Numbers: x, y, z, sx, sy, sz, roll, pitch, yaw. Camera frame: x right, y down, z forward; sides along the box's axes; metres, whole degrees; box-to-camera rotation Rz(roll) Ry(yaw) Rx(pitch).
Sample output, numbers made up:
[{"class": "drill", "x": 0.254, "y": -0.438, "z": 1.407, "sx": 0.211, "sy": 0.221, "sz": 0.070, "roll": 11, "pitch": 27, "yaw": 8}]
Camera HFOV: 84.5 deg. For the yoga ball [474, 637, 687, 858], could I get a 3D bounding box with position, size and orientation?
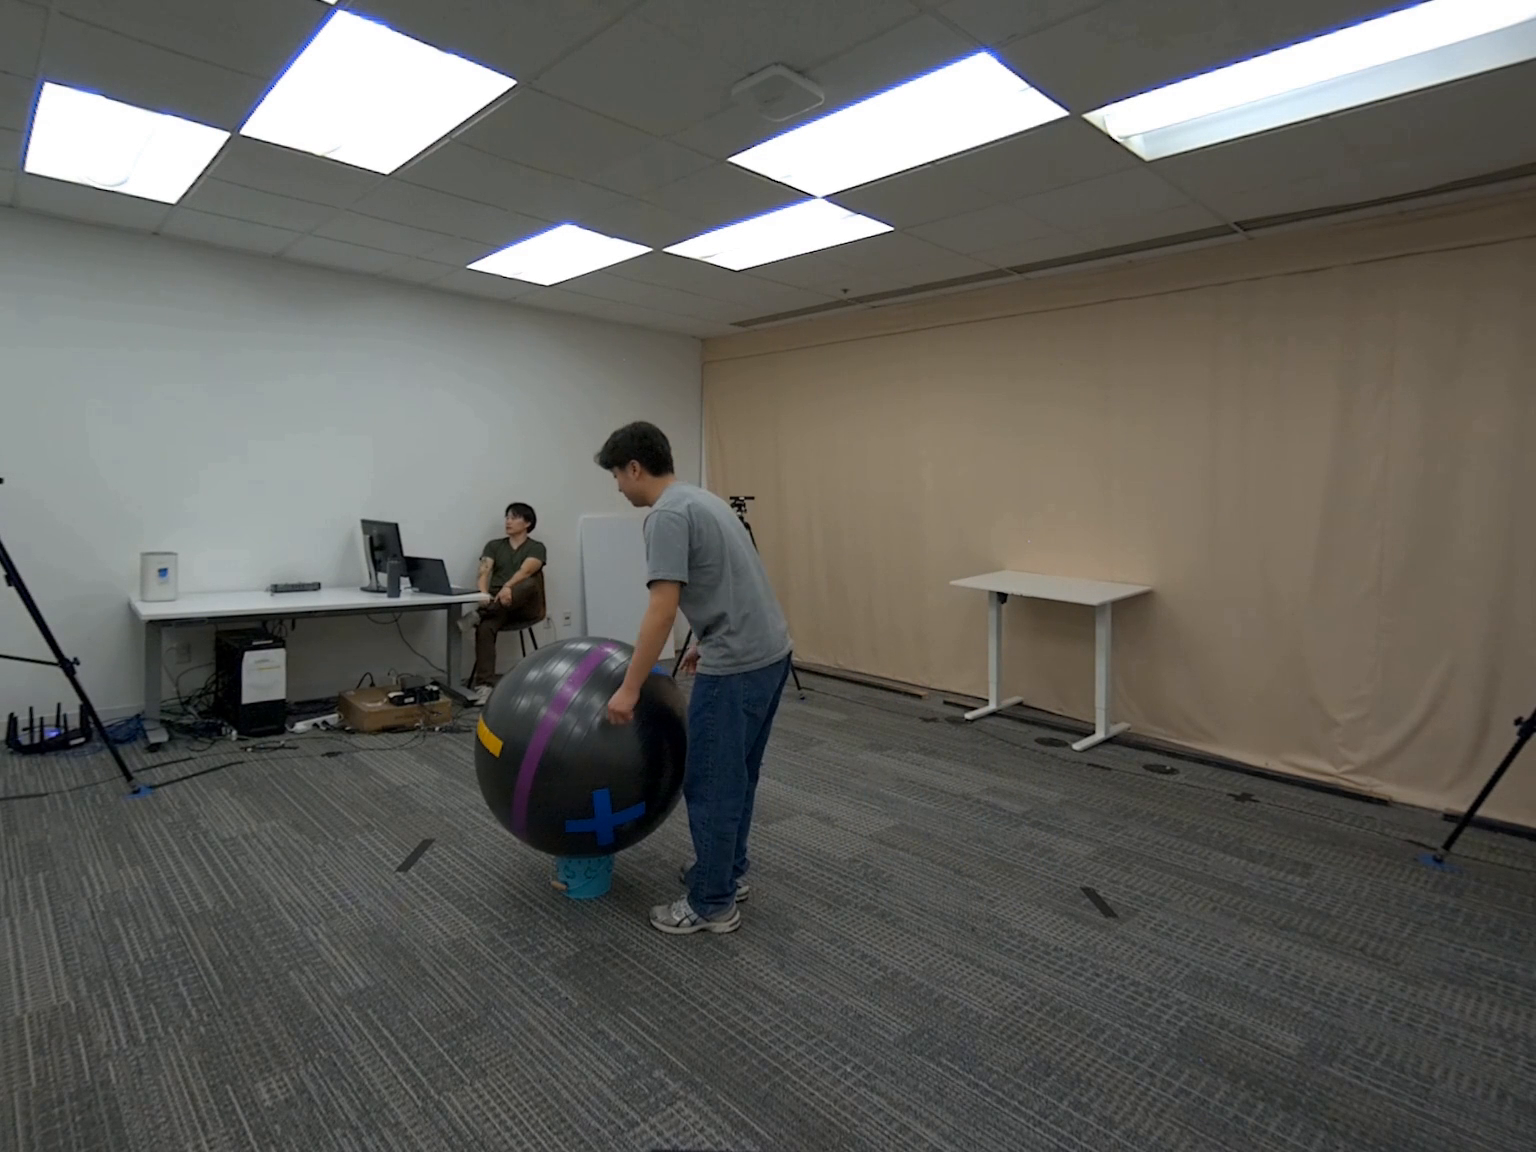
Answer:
[{"class": "yoga ball", "x": -0.640, "y": 0.594, "z": 2.962, "sx": 0.757, "sy": 0.756, "sz": 0.761, "roll": 1, "pitch": 4, "yaw": -1}]
